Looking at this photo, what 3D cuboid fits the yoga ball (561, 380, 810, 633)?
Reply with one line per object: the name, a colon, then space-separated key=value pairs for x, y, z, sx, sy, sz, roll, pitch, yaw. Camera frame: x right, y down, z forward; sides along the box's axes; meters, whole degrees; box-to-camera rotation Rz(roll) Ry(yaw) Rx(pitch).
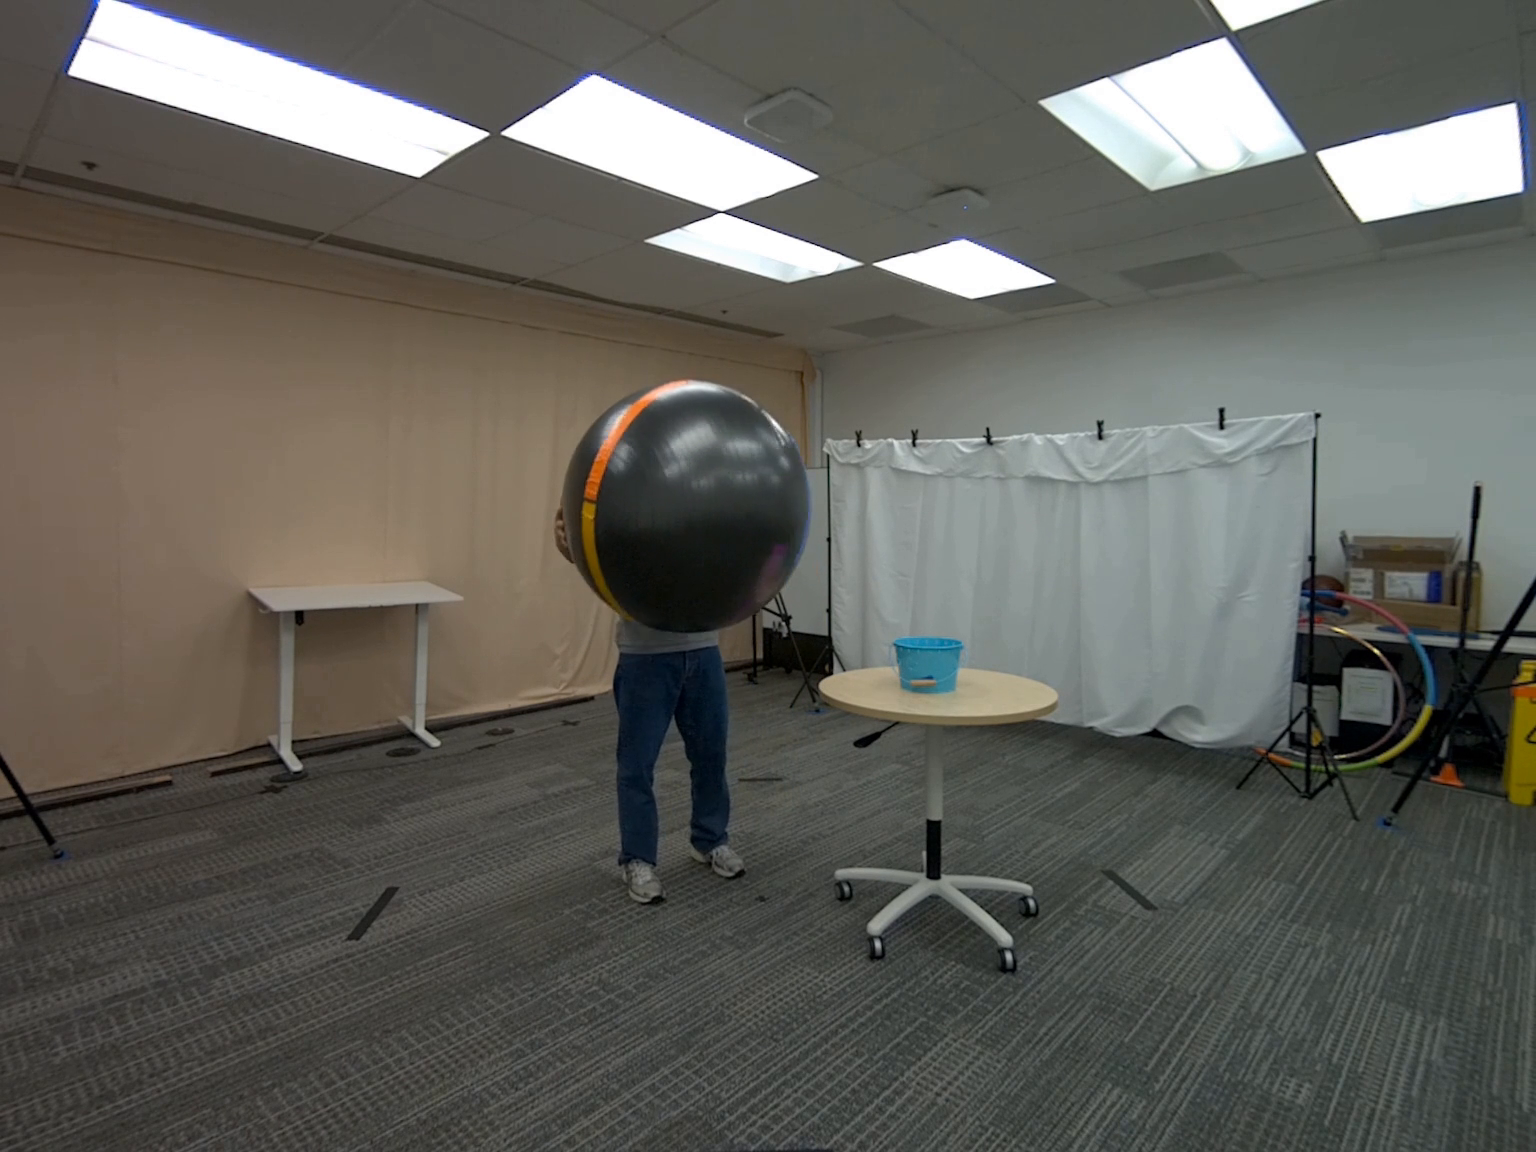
yoga ball: x=-0.246 y=-0.200 z=2.570 sx=0.757 sy=0.756 sz=0.760 roll=0 pitch=4 yaw=-2
